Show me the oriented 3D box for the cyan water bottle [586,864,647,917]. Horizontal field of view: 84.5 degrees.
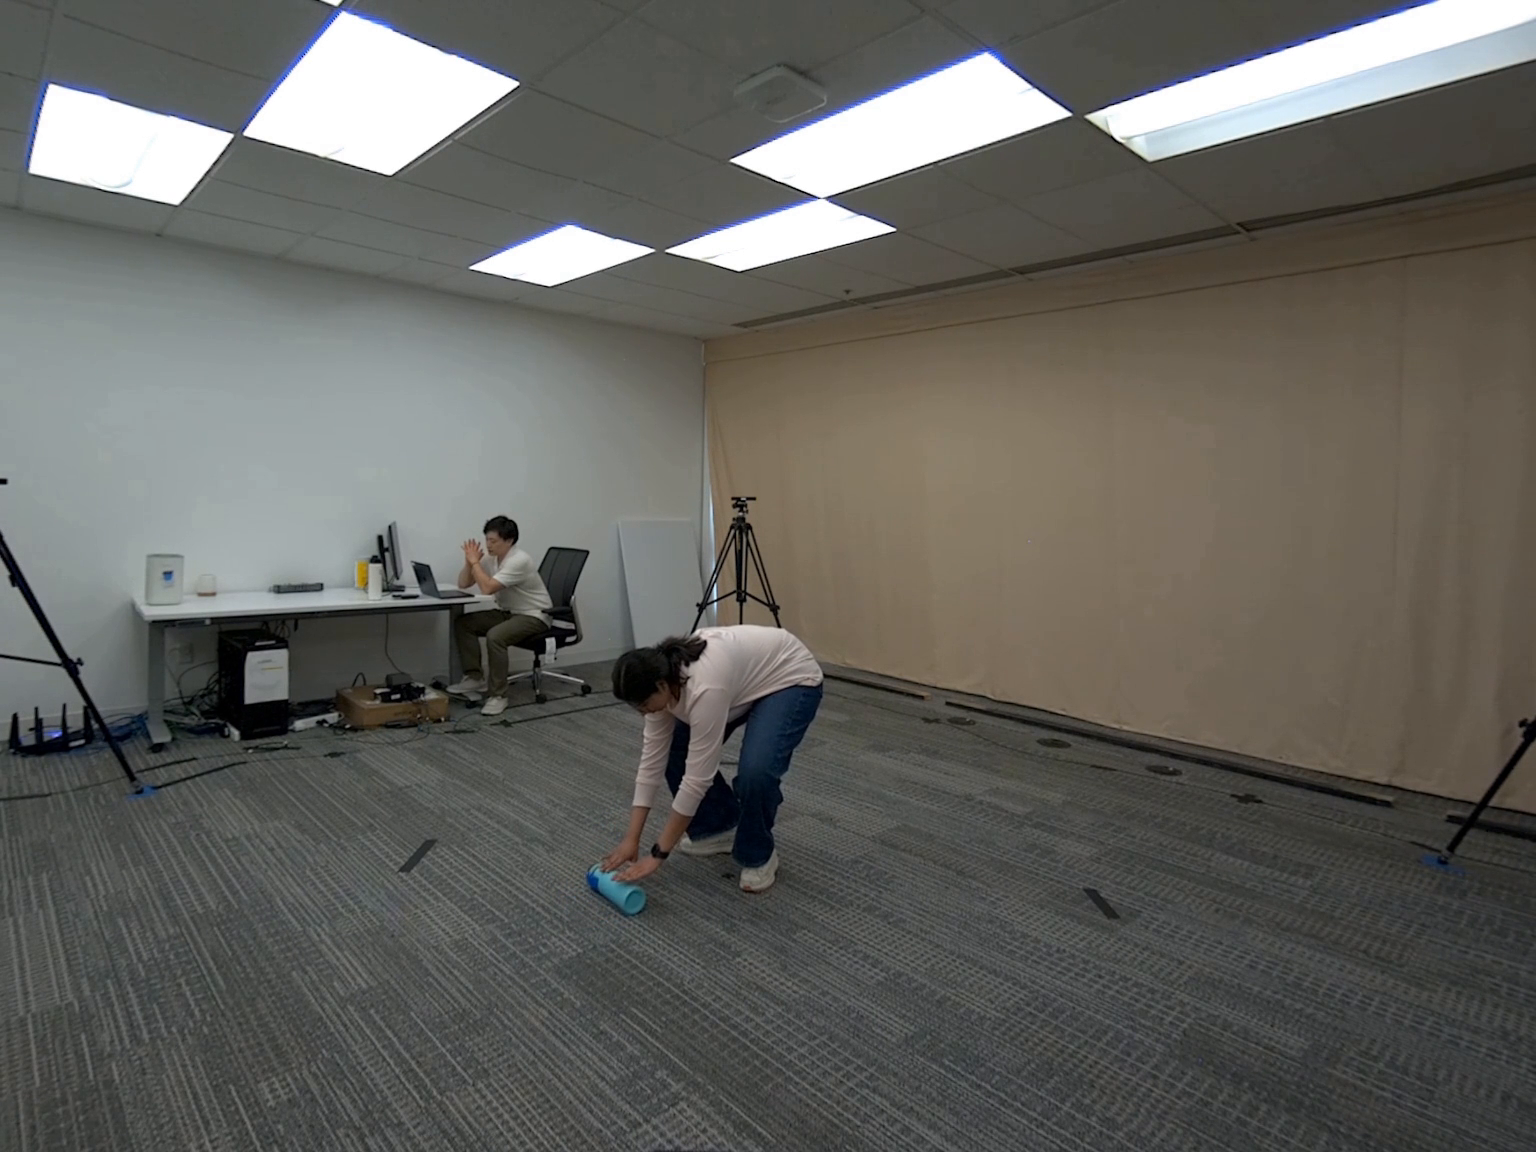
[{"bbox_3d":[-0.534,1.069,2.903,0.090,0.092,0.290,-2,5,-39],"label":"cyan water bottle"}]
